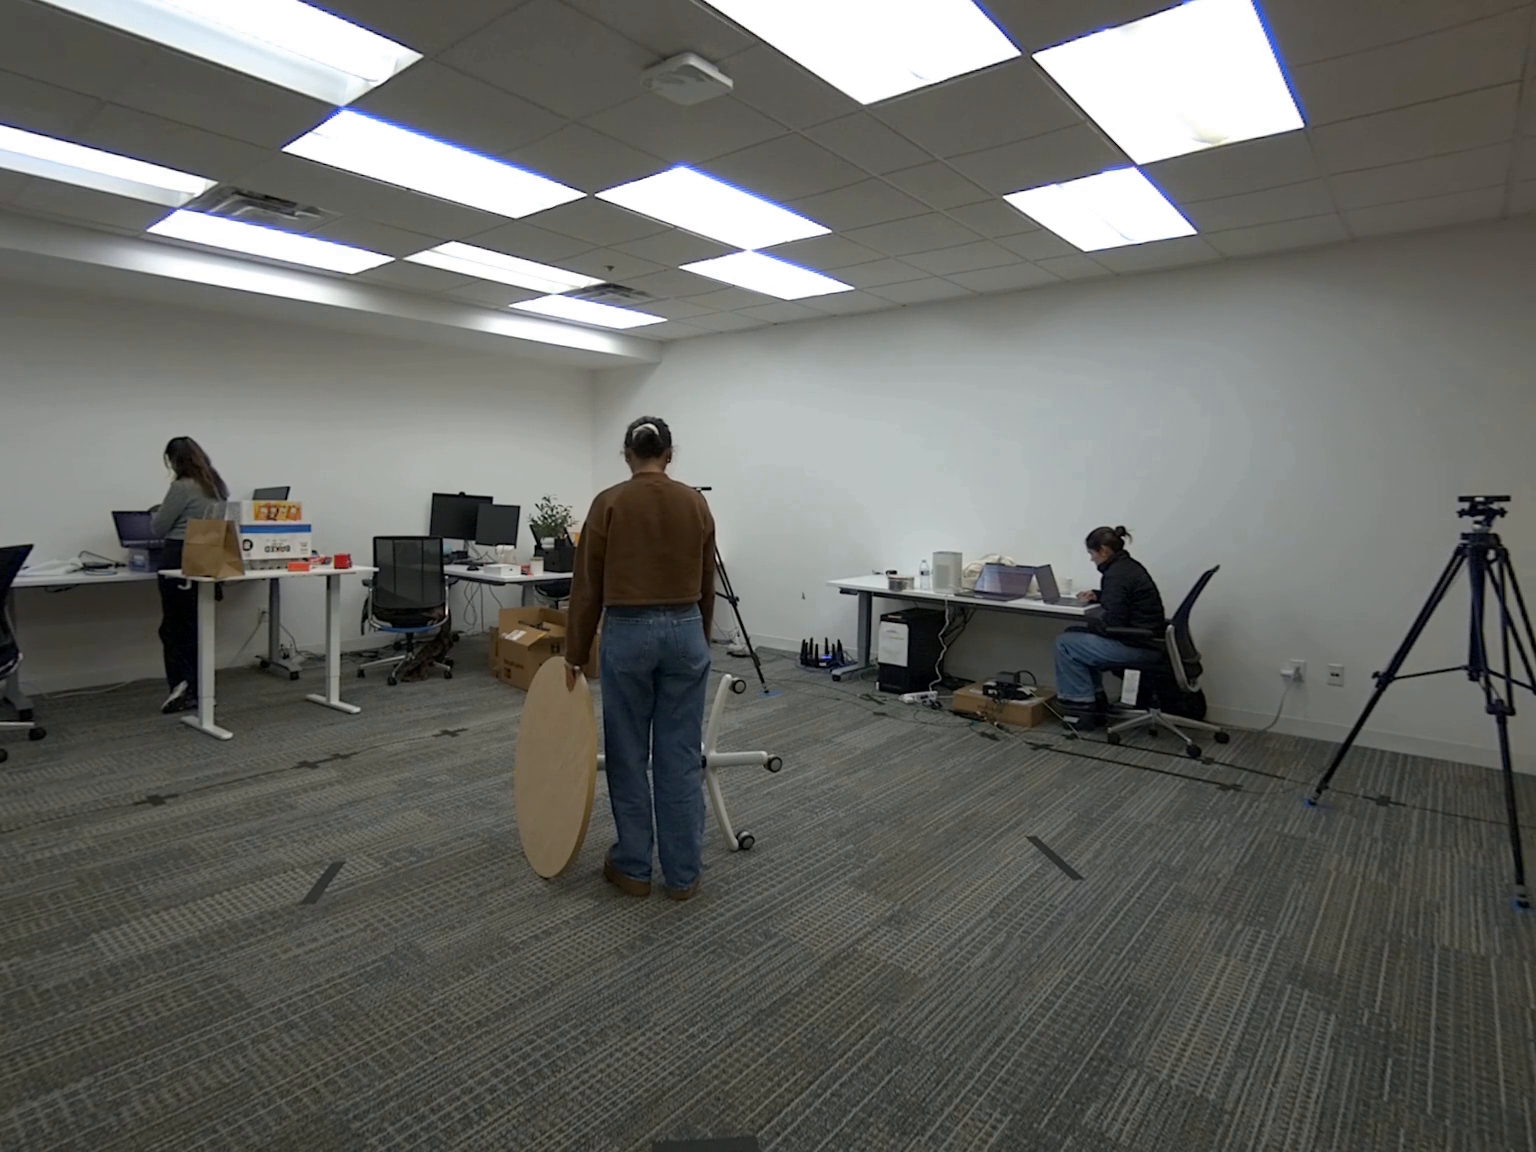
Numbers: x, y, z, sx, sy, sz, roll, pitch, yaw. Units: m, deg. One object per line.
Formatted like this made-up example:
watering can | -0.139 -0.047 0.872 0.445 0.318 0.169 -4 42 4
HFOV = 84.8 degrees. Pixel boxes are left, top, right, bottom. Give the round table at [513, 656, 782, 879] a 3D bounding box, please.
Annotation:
round table | -0.482 0.712 3.277 0.769 0.764 0.788 7 0 -32
